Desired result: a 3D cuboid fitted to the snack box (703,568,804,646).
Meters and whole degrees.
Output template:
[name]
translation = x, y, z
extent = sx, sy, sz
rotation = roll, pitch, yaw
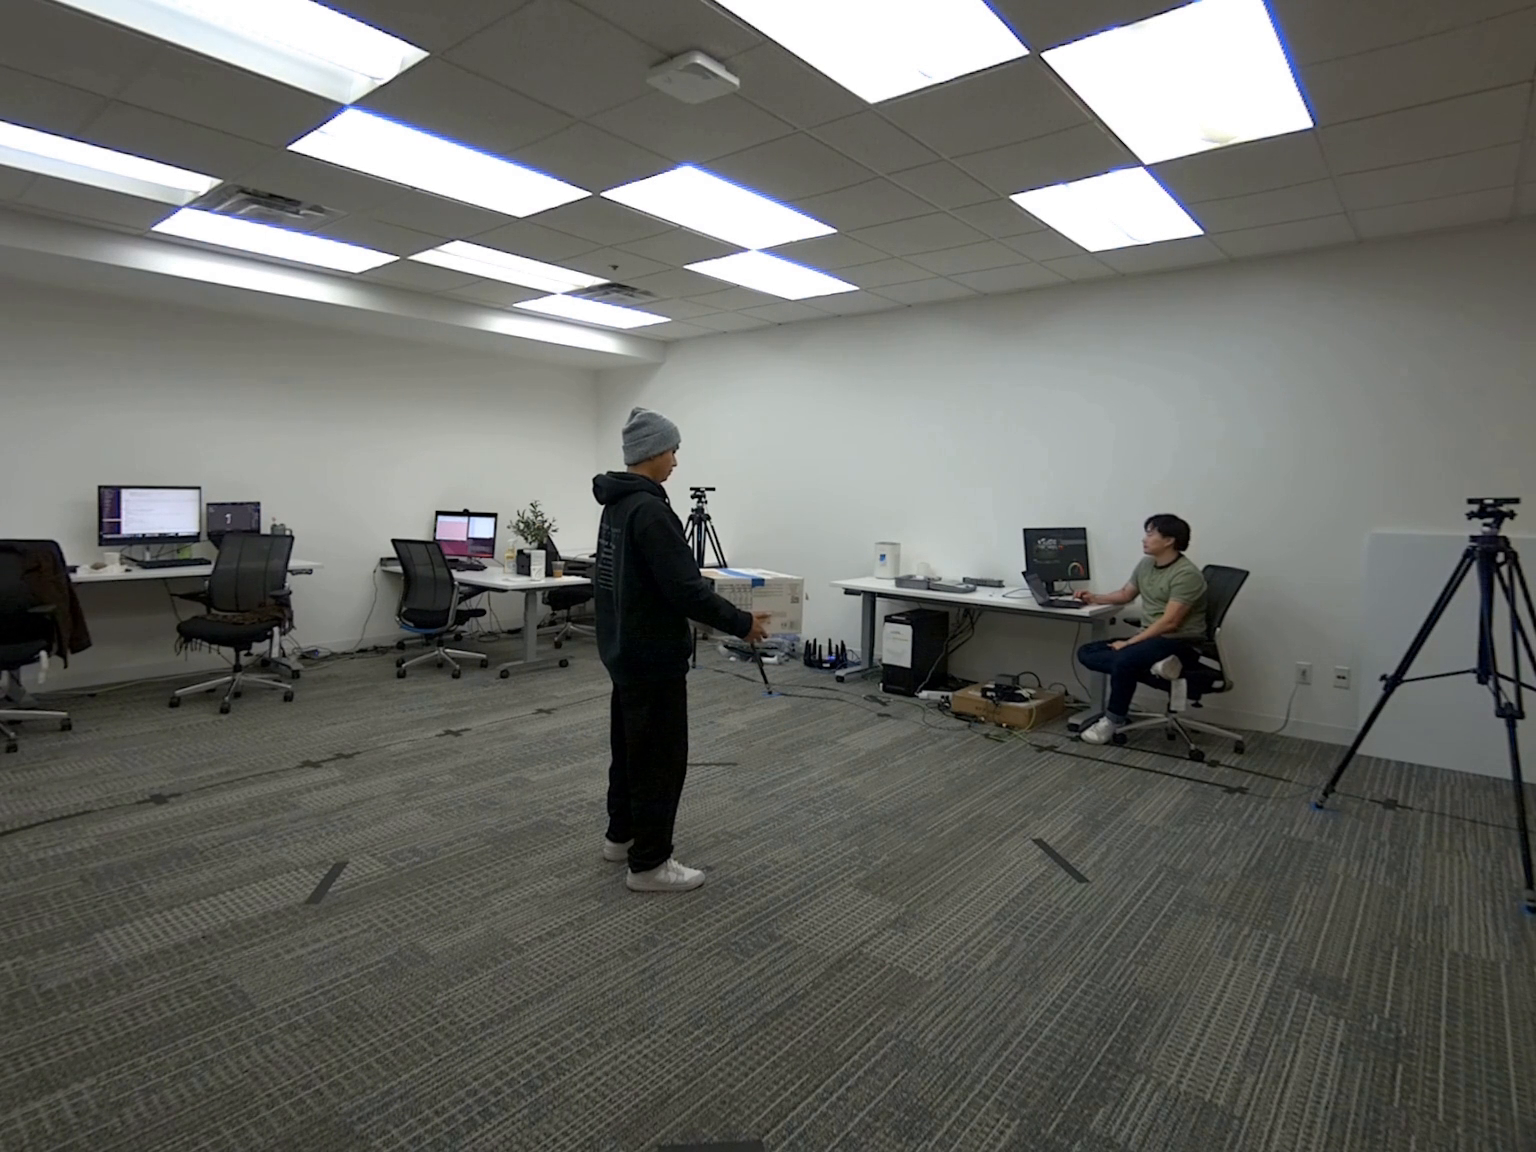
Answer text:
[snack box]
translation = -0.117, 0.090, 3.173
extent = 0.333, 0.205, 0.415
rotation = -1, 5, -21
